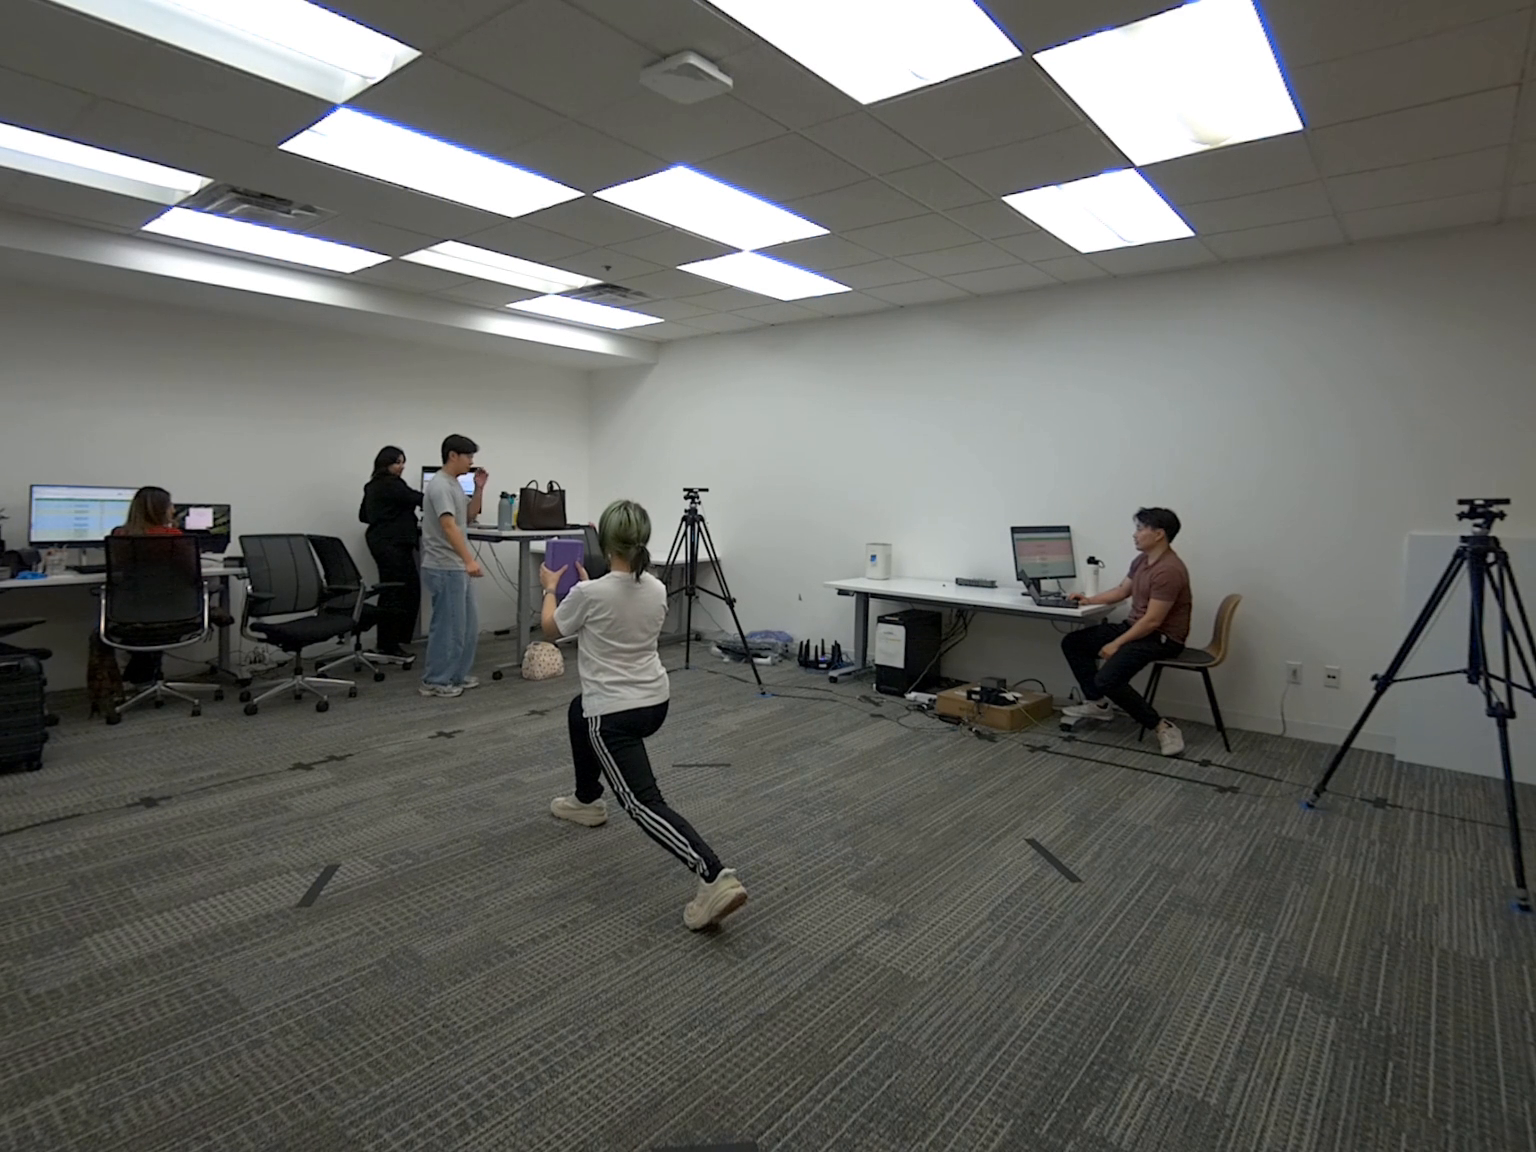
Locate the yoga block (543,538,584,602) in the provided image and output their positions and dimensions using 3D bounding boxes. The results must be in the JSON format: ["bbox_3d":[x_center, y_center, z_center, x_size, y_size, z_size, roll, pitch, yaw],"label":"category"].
[{"bbox_3d":[-0.875,-0.039,3.582,0.144,0.229,0.079,3,0,-38],"label":"yoga block"}]
